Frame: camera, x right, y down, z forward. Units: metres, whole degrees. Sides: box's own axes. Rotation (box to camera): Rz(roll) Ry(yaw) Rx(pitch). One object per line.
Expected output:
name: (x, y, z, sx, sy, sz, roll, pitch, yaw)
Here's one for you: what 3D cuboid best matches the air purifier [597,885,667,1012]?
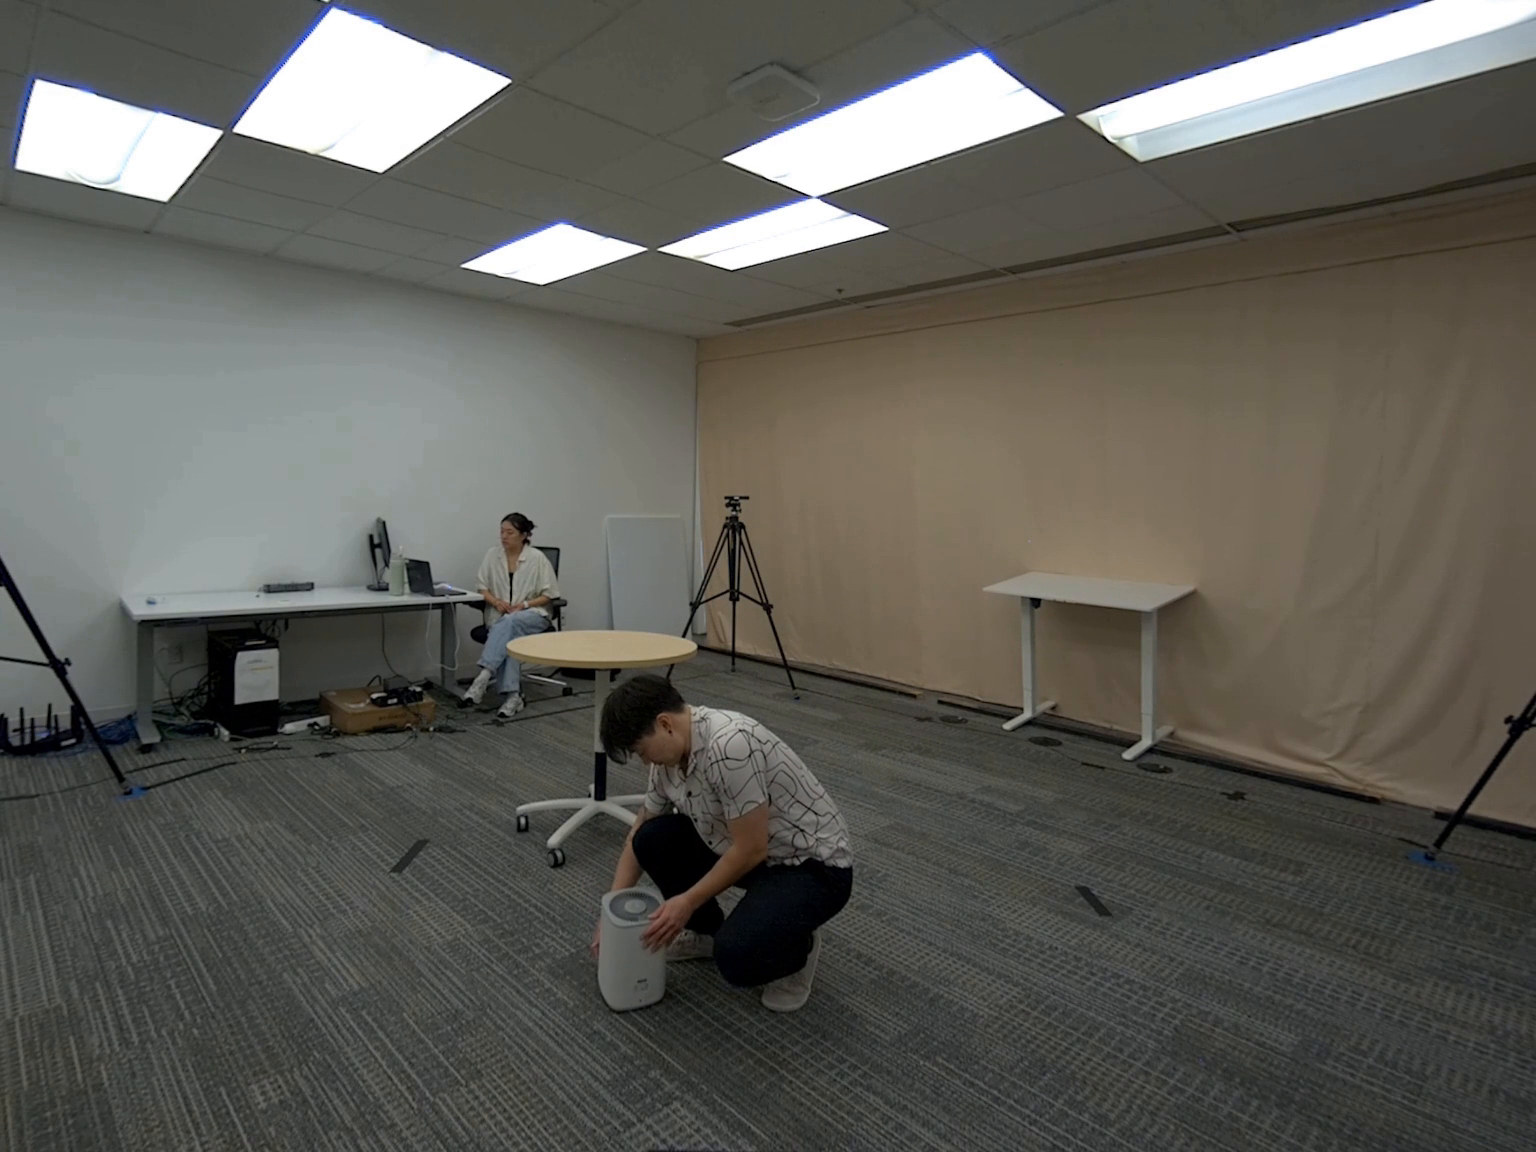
air purifier: (-0.375, 1.026, 2.330, 0.168, 0.263, 0.176, -2, 11, -27)
